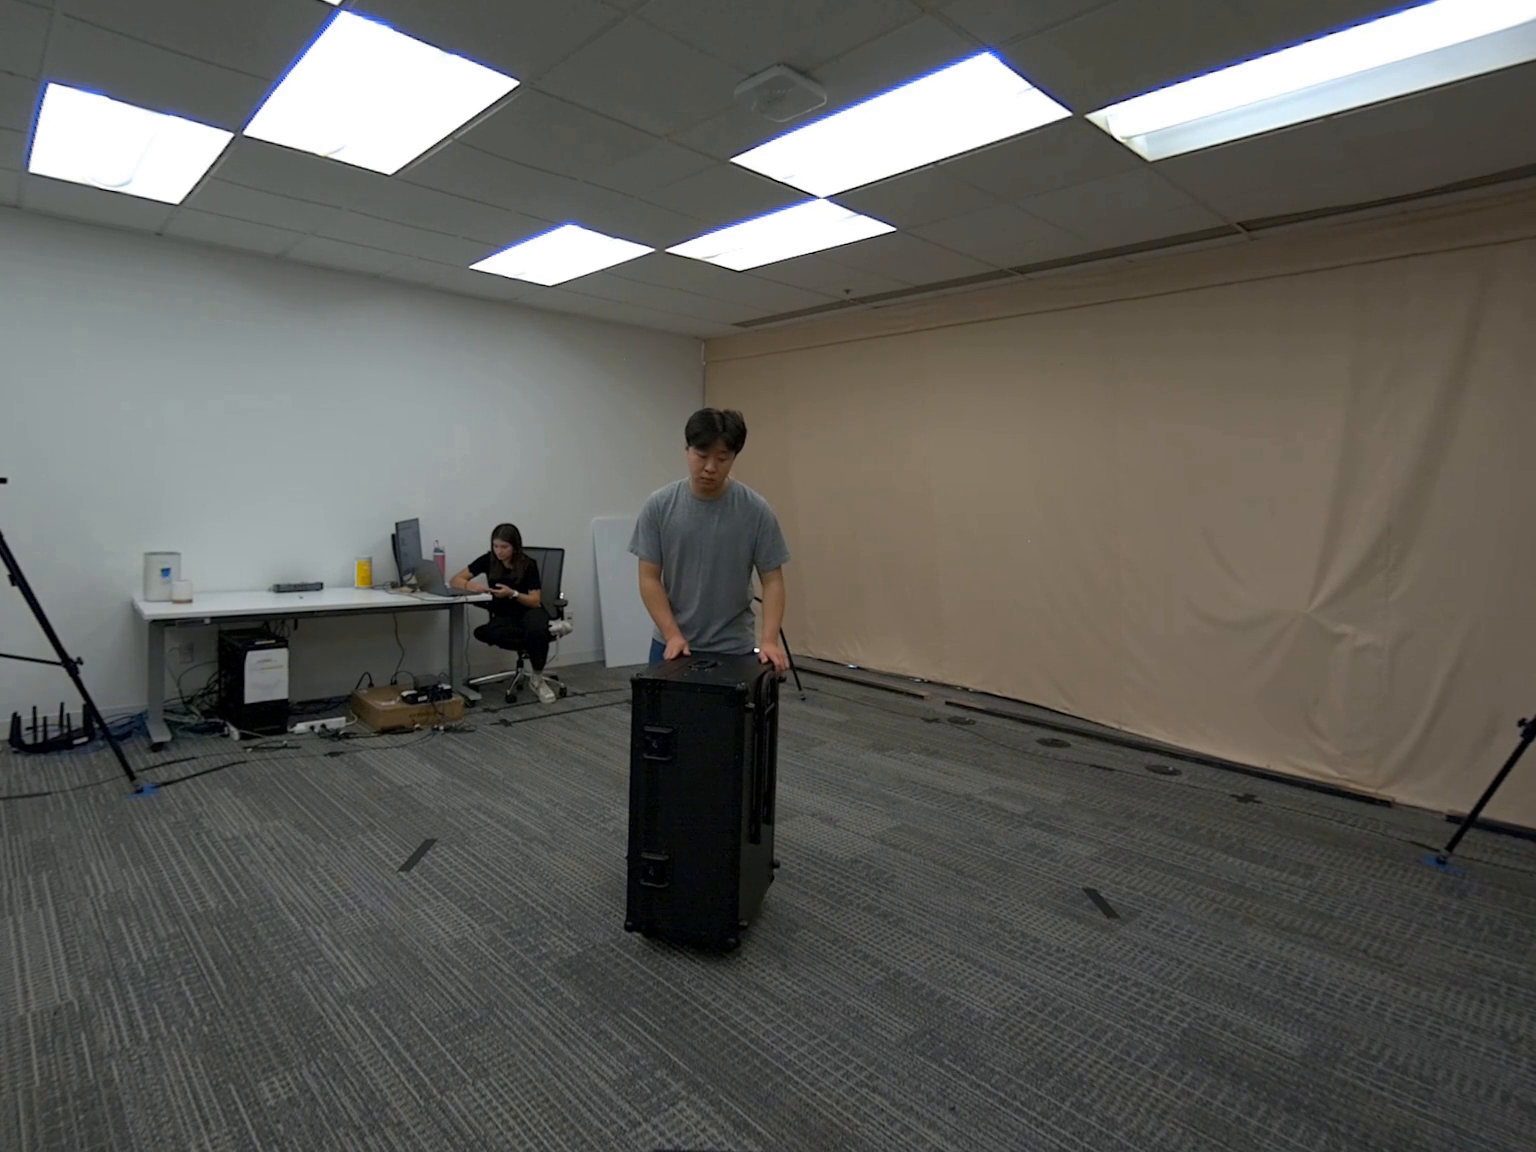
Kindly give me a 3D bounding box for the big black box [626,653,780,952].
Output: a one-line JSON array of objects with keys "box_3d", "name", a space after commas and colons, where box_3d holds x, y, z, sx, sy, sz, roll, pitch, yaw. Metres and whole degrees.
[{"box_3d": [-0.180, 0.724, 2.708, 0.401, 0.859, 0.517, 3, 4, 12], "name": "big black box"}]
